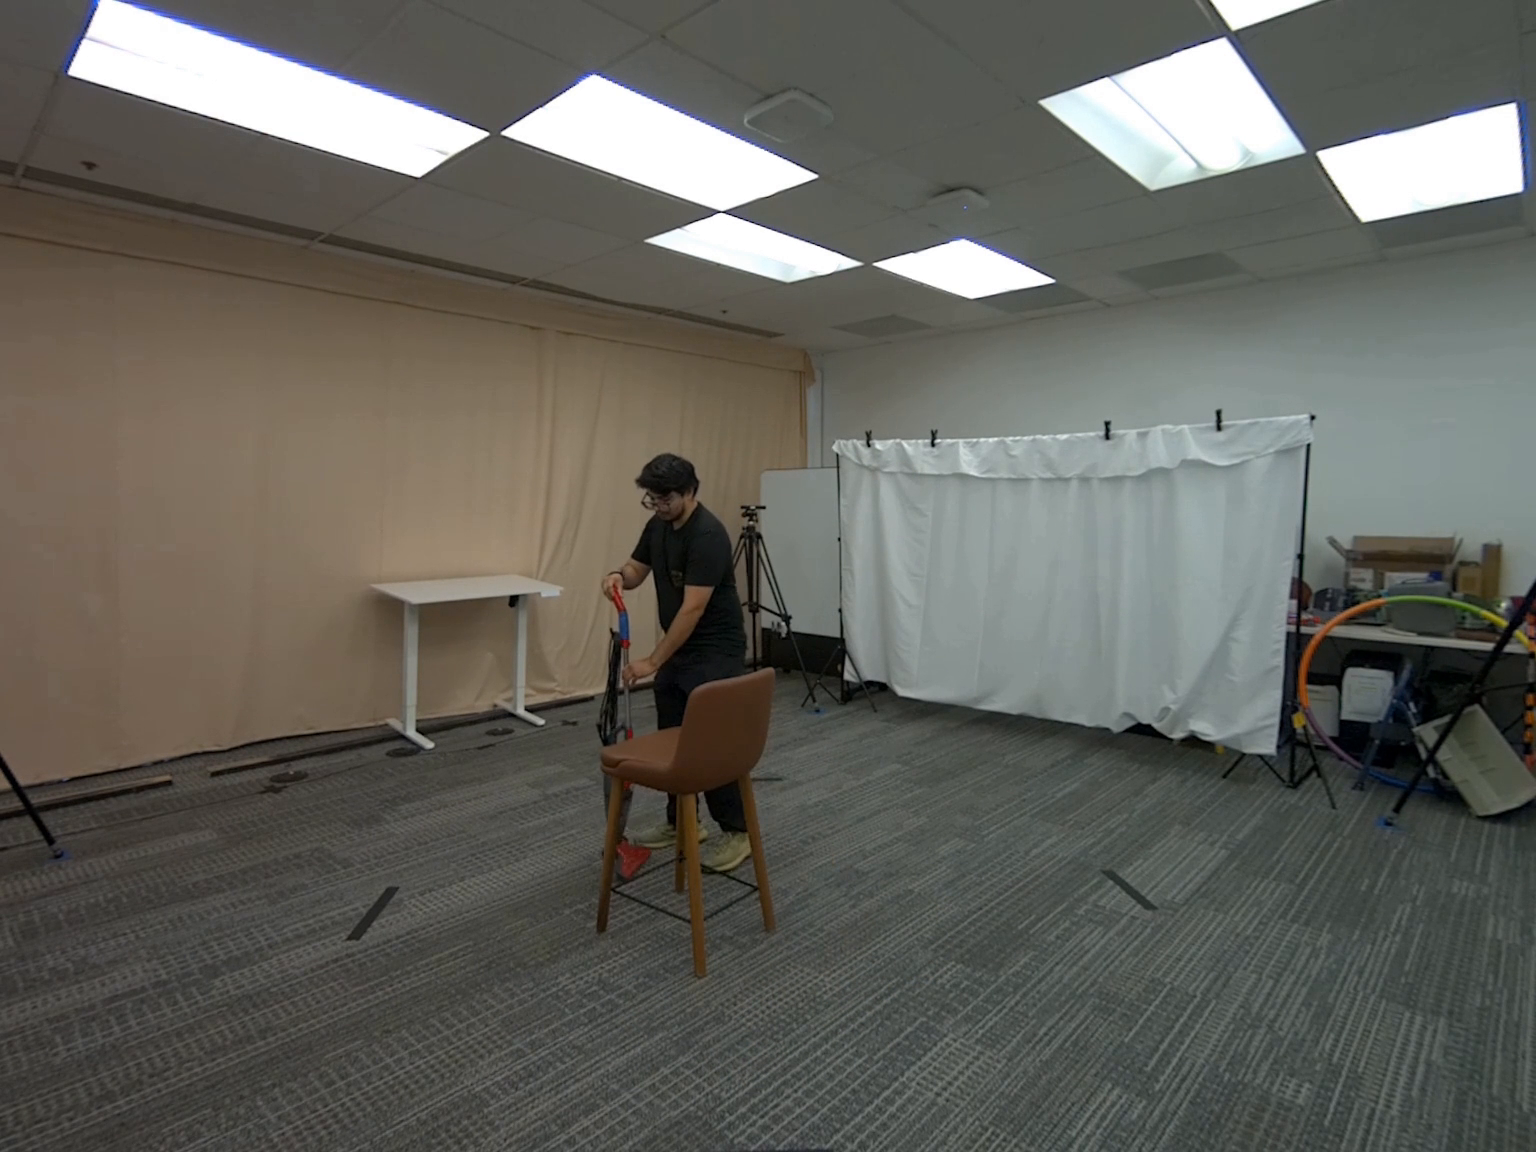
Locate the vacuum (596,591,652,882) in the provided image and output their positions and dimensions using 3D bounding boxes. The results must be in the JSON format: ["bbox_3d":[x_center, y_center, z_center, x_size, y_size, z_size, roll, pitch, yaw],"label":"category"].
[{"bbox_3d":[-0.576,0.589,3.223,0.148,1.047,0.245,-2,3,36],"label":"vacuum"}]
